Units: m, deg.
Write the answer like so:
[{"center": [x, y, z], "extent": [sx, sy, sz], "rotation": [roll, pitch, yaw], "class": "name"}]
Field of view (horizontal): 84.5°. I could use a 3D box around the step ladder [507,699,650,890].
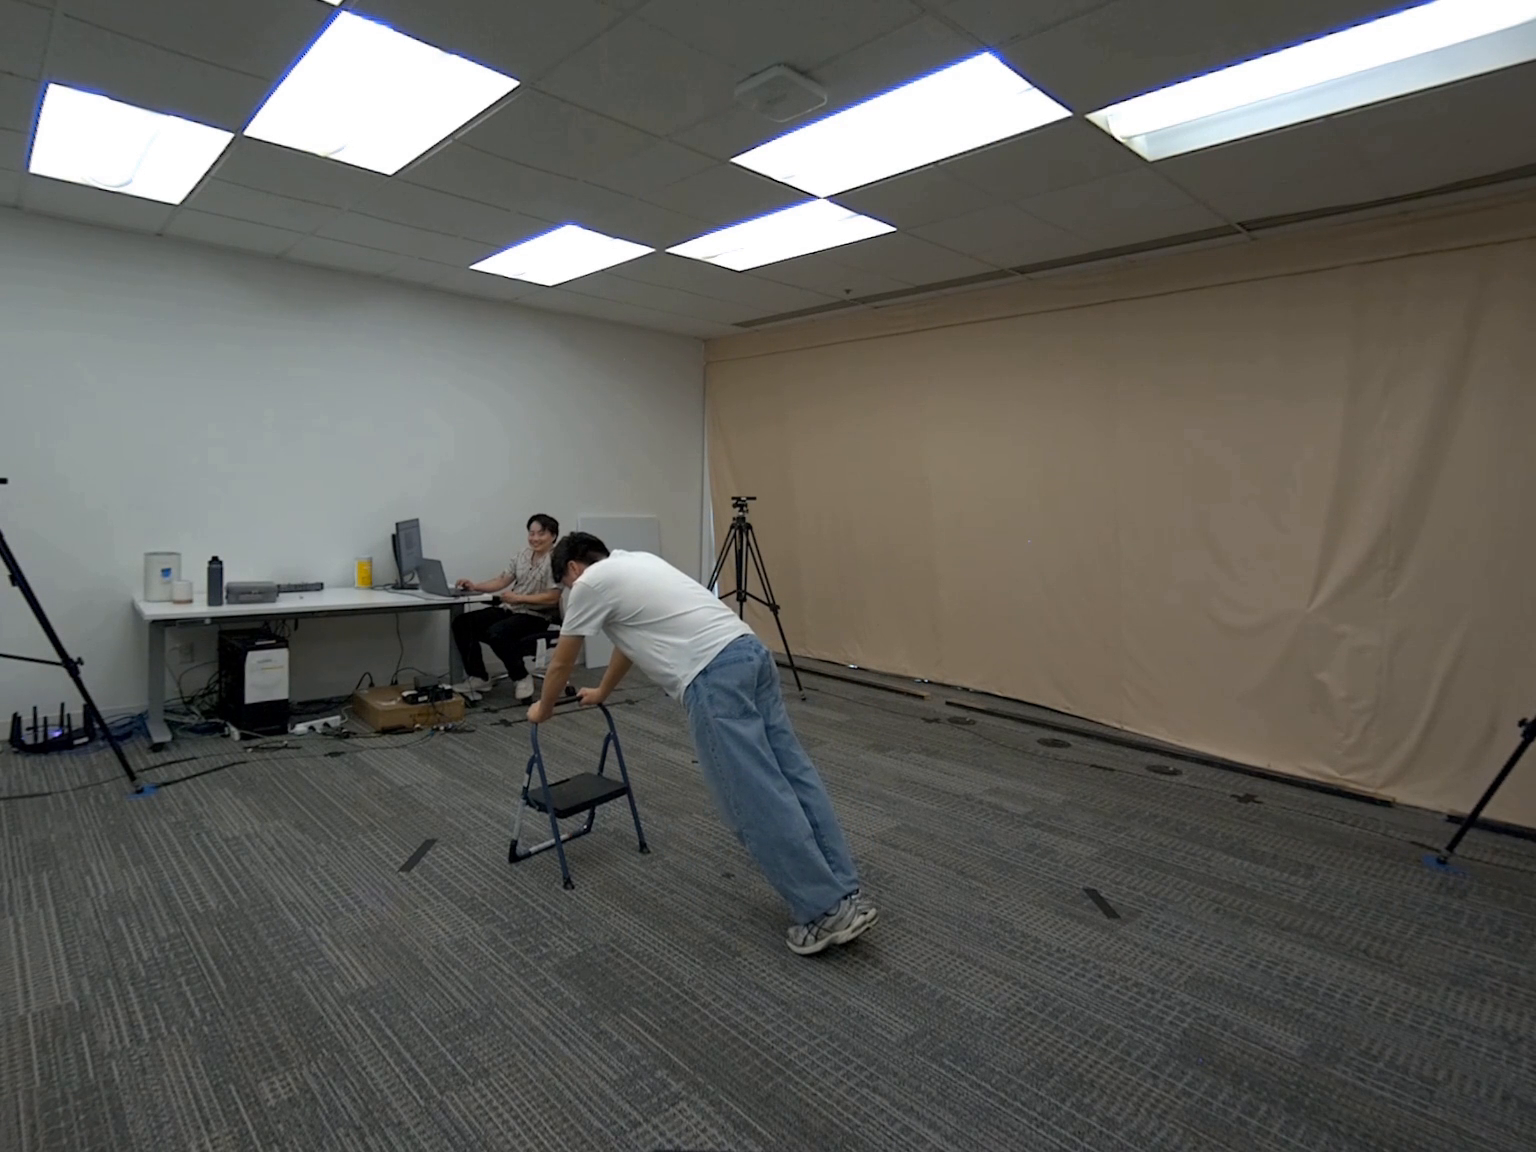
[{"center": [-0.727, 0.779, 3.223], "extent": [0.357, 0.605, 0.421], "rotation": [3, 4, 34], "class": "step ladder"}]
